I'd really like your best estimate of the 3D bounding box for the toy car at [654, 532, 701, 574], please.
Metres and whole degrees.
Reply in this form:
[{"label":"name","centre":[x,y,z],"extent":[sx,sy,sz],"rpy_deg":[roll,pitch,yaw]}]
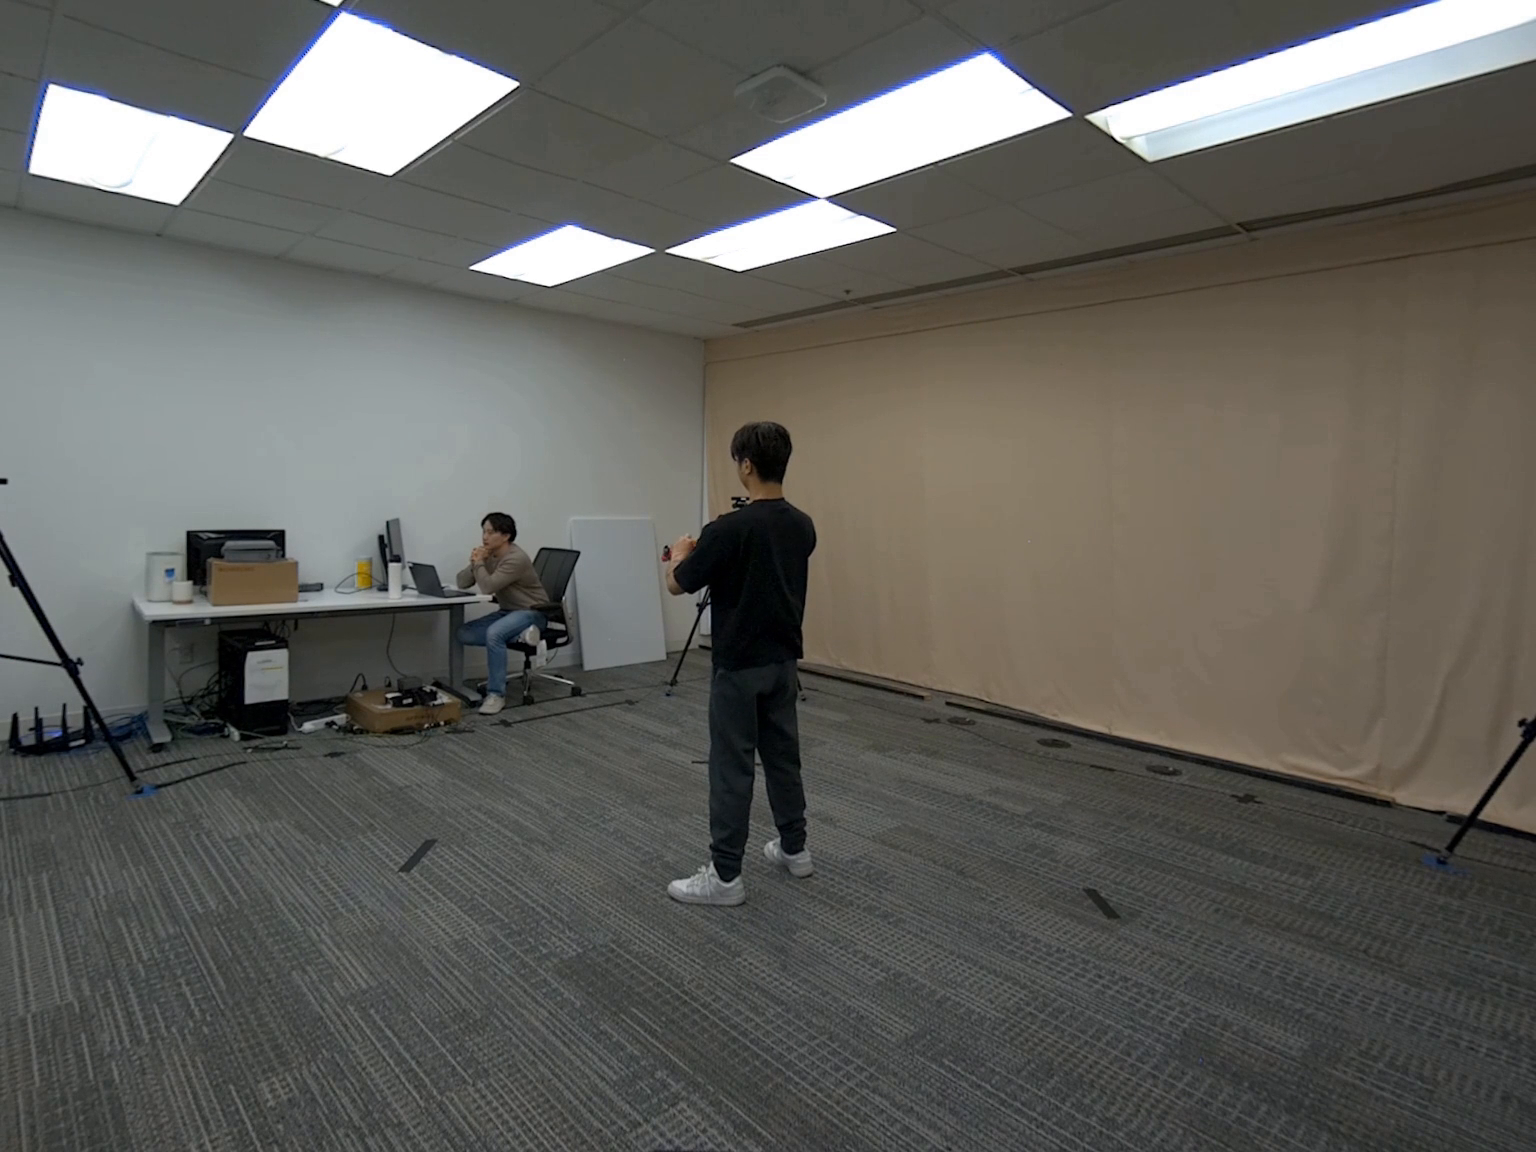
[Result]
[{"label":"toy car","centre":[-0.331,-0.089,3.304],"extent":[0.127,0.084,0.257],"rpy_deg":[0,-16,-32]}]
